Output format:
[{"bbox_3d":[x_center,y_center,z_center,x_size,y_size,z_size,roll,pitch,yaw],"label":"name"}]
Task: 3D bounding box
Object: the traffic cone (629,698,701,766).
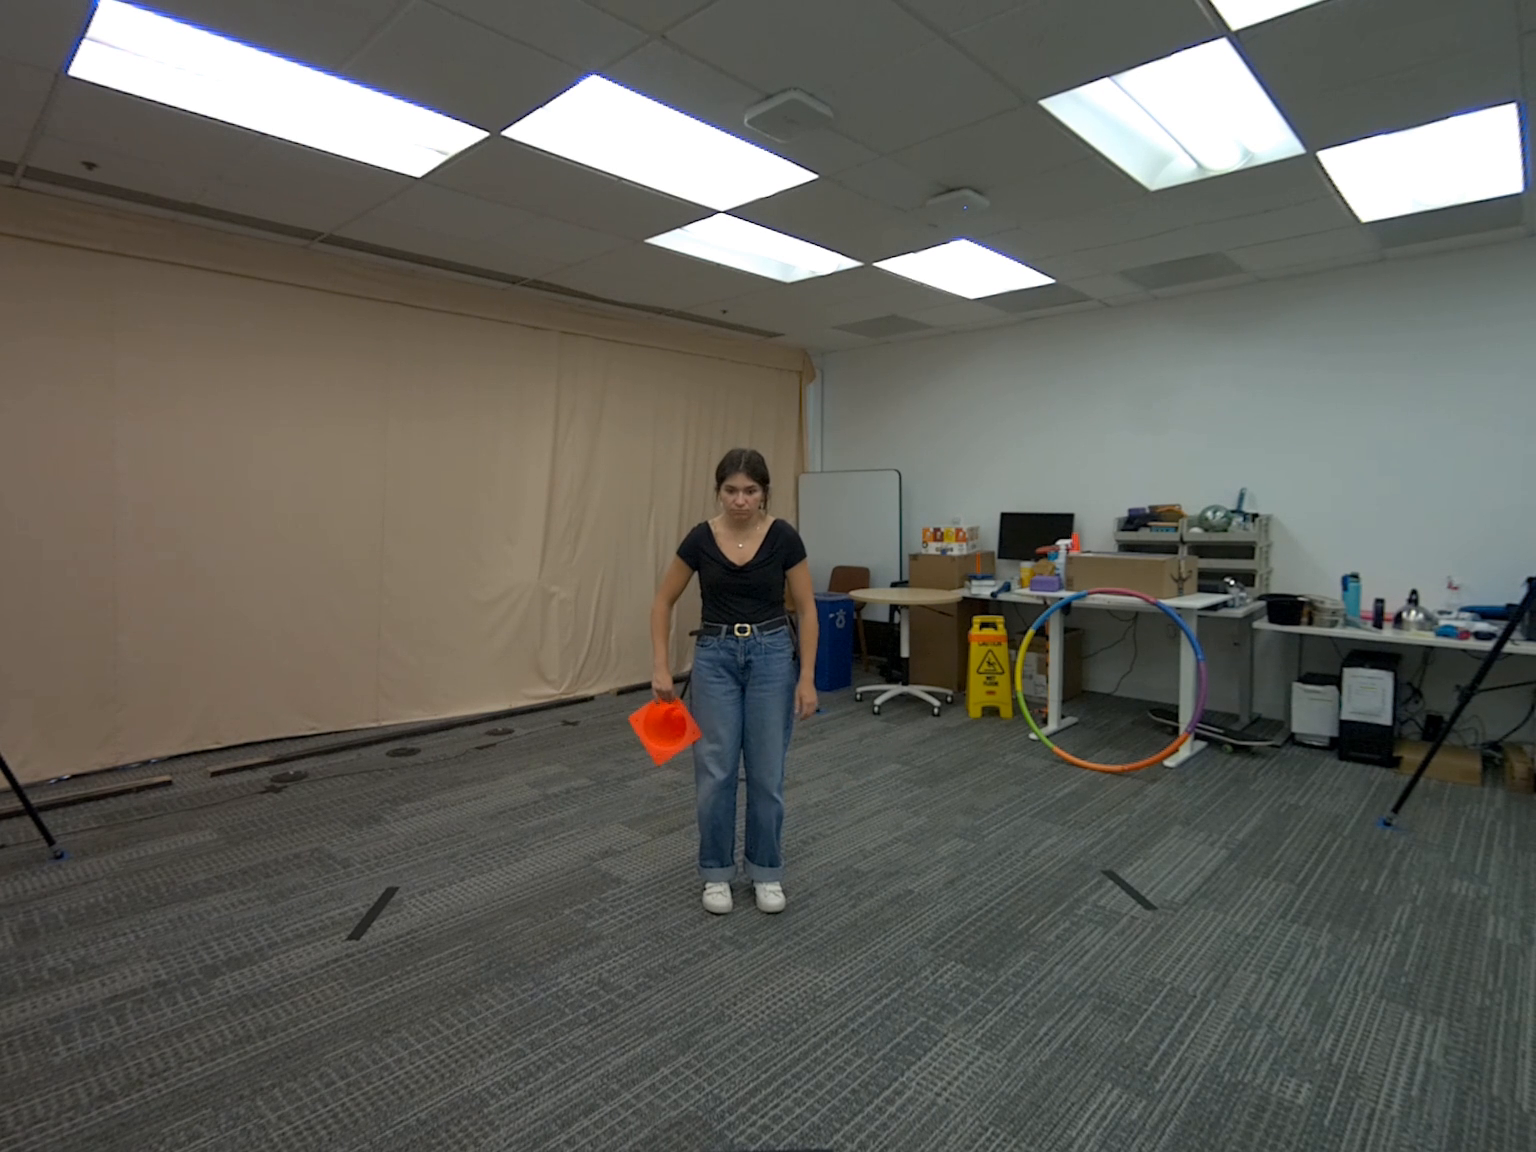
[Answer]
[{"bbox_3d":[-0.317,0.533,3.130,0.204,0.208,0.378,-38,-10,4],"label":"traffic cone"}]
